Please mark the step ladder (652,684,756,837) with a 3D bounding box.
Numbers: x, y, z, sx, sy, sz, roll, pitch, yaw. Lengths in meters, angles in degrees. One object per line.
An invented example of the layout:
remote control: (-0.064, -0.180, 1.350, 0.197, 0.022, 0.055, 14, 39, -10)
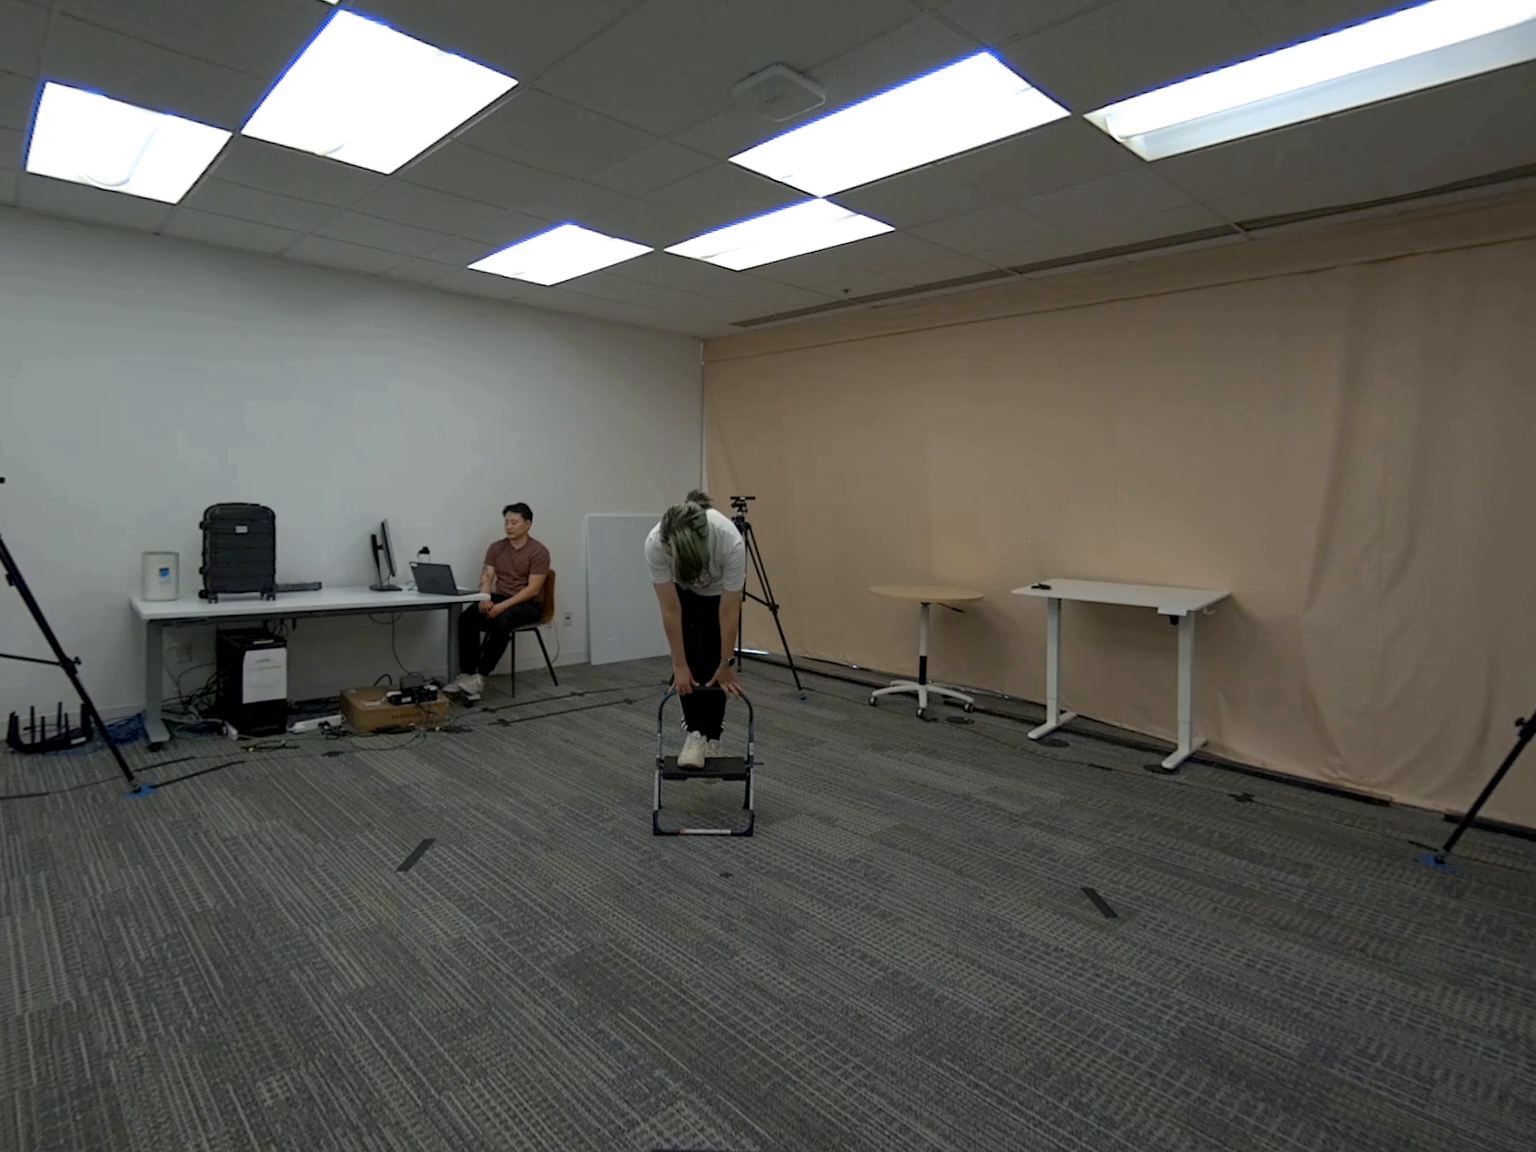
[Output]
step ladder: (-0.281, 0.759, 3.615, 0.429, 0.605, 0.351, 2, 3, -4)
